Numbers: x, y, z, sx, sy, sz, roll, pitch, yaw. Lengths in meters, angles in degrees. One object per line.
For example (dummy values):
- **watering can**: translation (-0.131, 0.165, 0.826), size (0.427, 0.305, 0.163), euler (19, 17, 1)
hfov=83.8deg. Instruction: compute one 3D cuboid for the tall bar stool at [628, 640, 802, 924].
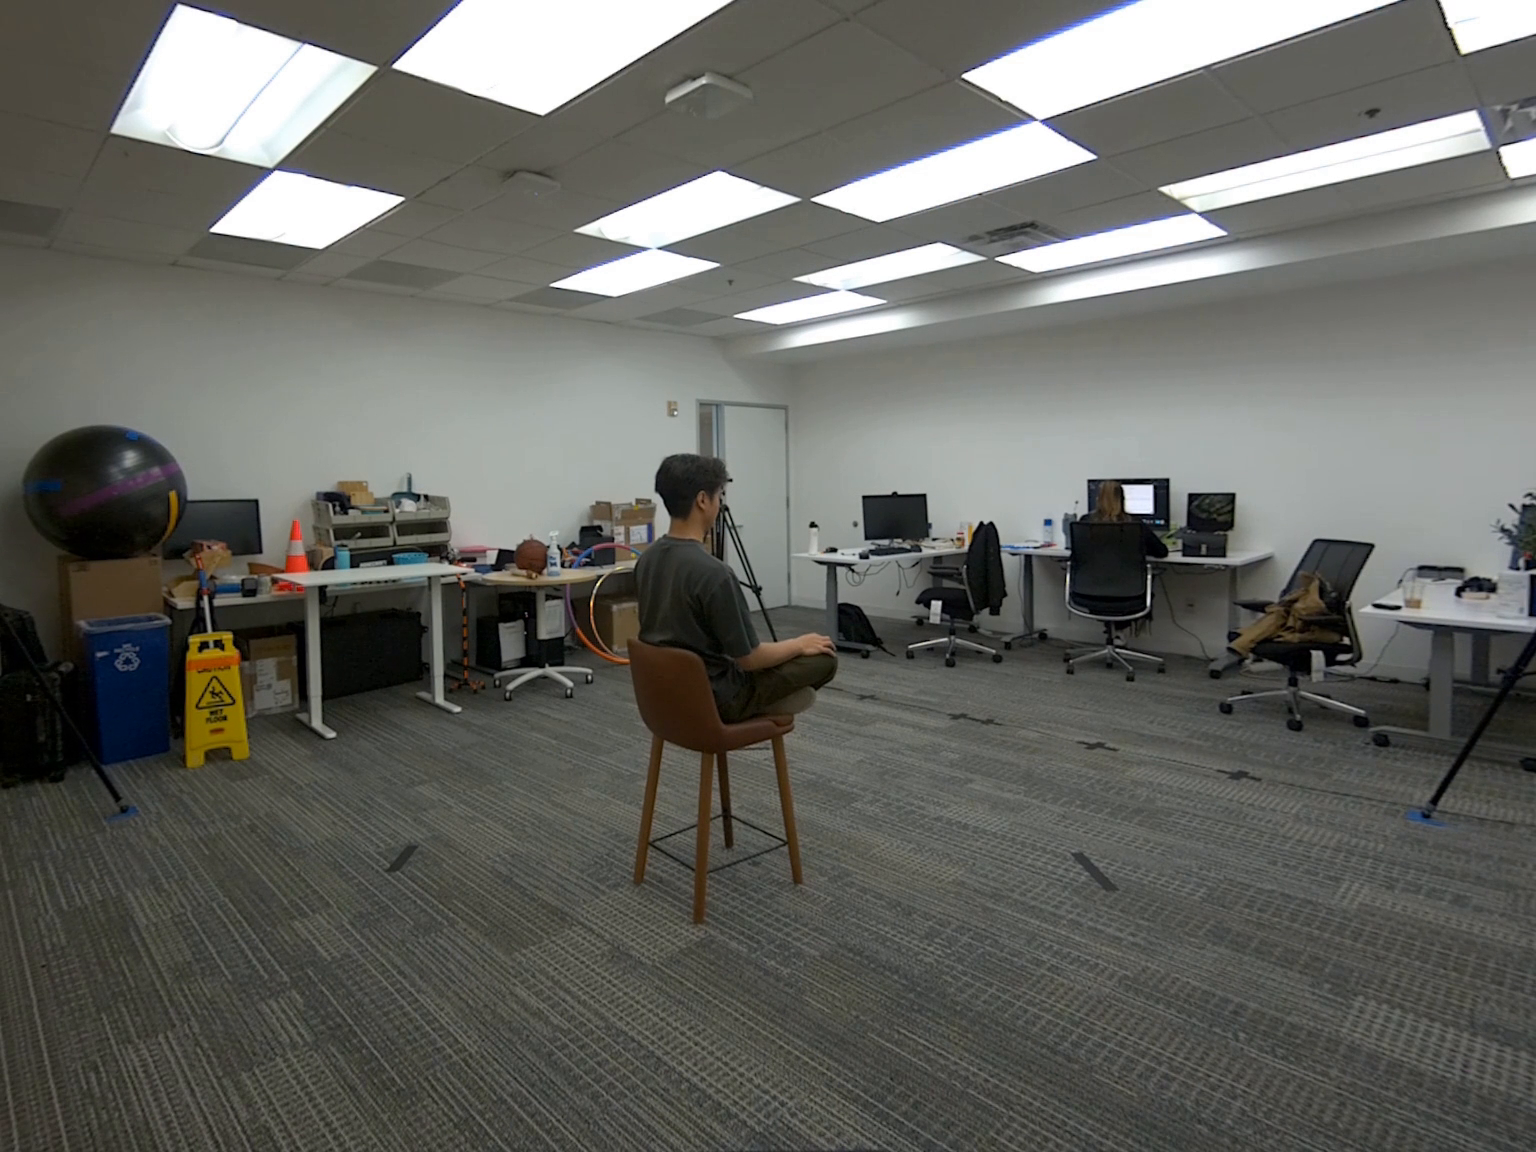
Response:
- **tall bar stool**: translation (-0.194, 0.631, 2.936), size (0.456, 0.885, 0.470), euler (-8, 8, -40)
